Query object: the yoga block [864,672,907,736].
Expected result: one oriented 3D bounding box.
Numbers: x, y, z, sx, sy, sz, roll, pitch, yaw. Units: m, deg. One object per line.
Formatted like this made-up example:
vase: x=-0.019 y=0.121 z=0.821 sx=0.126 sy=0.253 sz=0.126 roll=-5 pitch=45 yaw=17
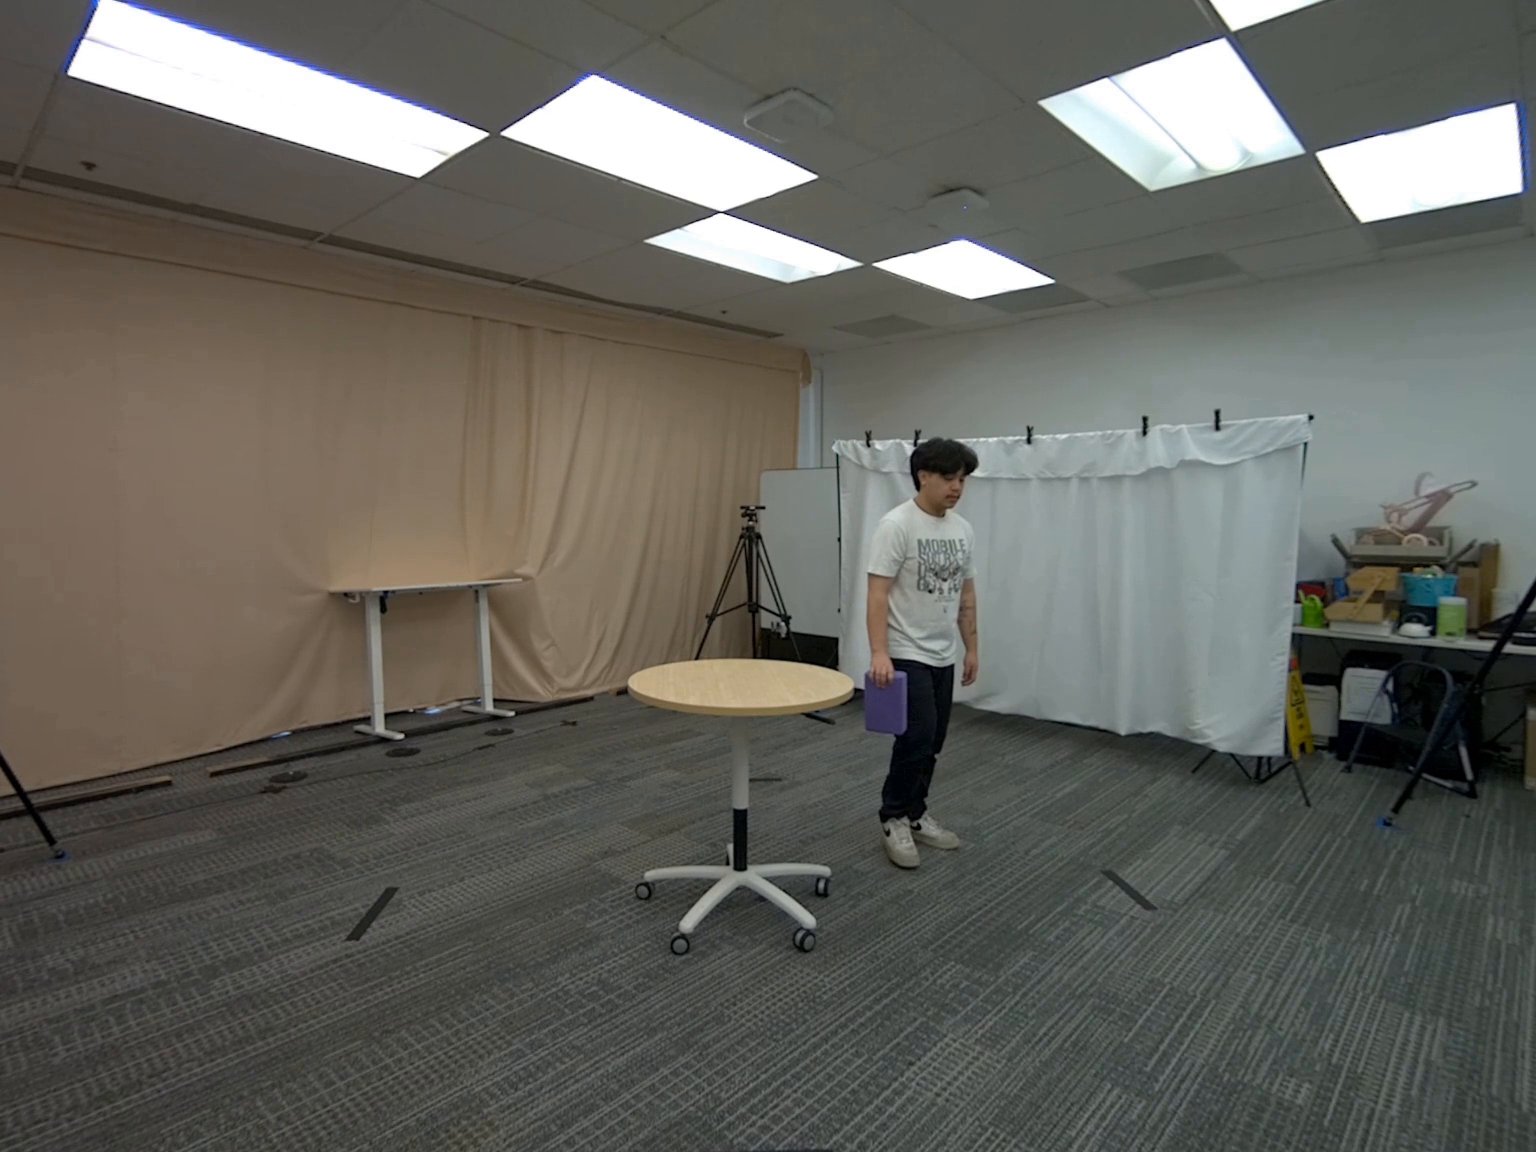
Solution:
yoga block: x=0.455 y=0.480 z=3.214 sx=0.153 sy=0.229 sz=0.075 roll=3 pitch=5 yaw=24
